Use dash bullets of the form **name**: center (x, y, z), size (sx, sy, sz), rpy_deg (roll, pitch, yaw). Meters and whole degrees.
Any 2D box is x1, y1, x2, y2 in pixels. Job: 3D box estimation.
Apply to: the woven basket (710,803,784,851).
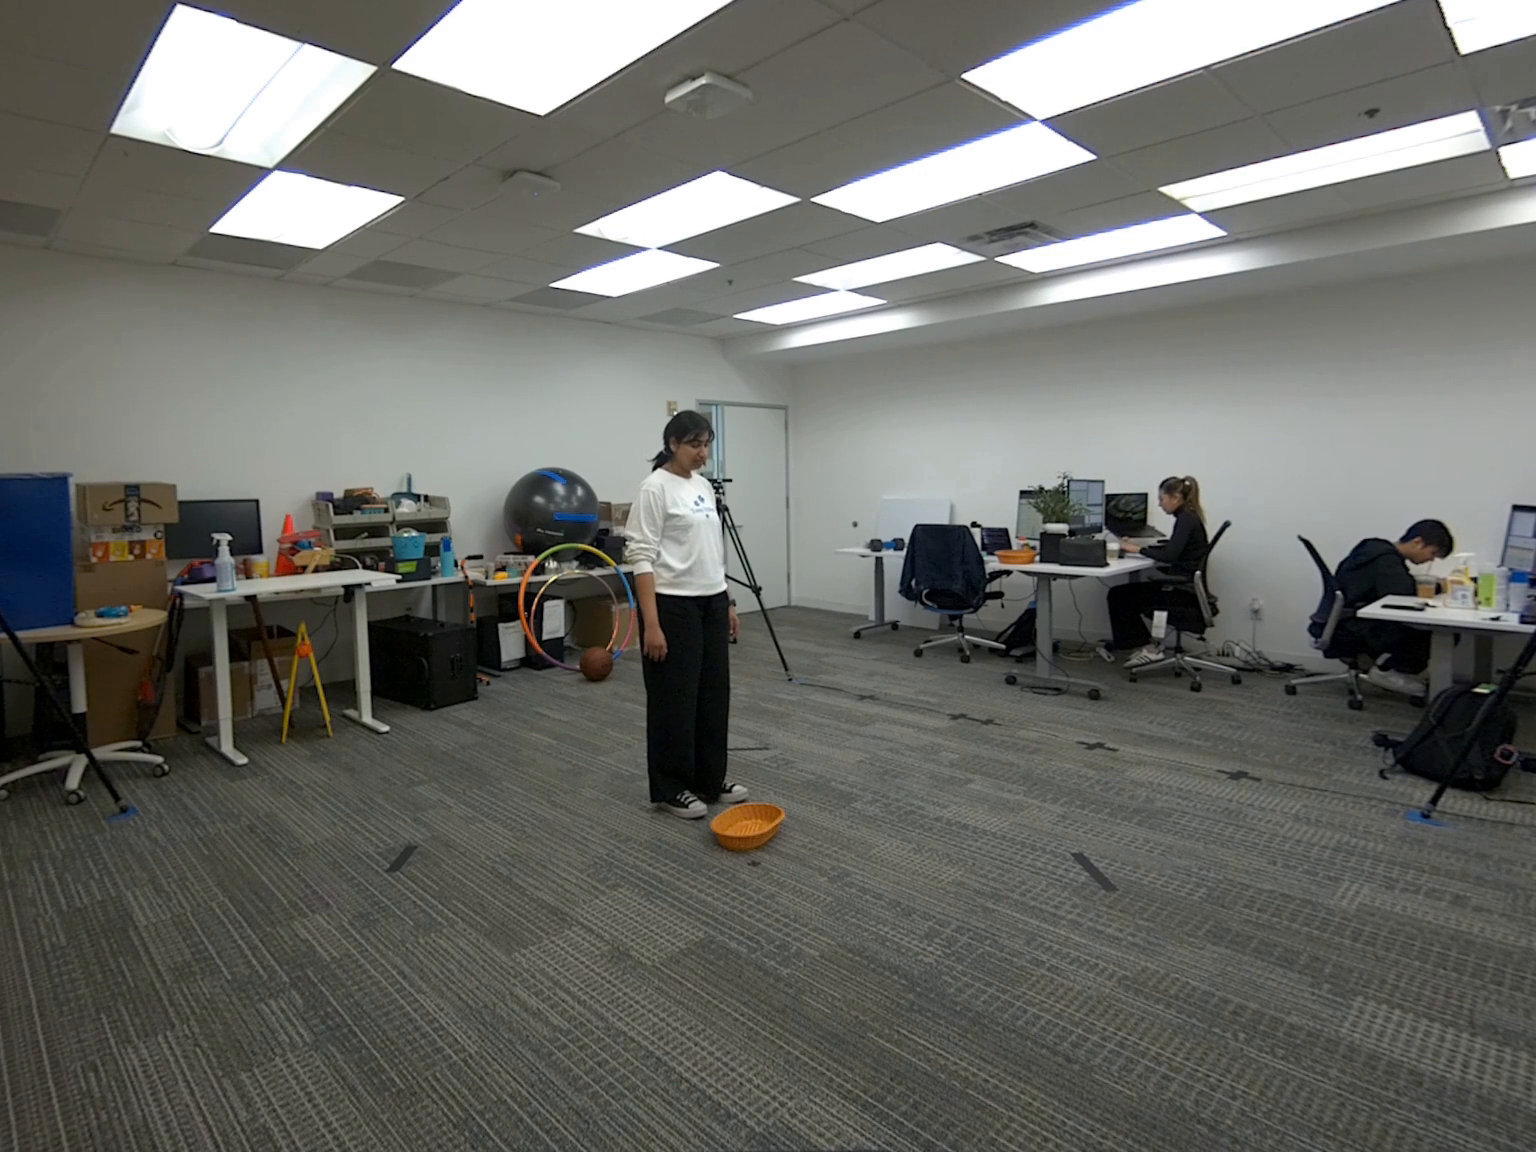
- **woven basket**: center (-0.081, 0.977, 3.346), size (0.259, 0.073, 0.342), rpy_deg (2, 7, 32)
